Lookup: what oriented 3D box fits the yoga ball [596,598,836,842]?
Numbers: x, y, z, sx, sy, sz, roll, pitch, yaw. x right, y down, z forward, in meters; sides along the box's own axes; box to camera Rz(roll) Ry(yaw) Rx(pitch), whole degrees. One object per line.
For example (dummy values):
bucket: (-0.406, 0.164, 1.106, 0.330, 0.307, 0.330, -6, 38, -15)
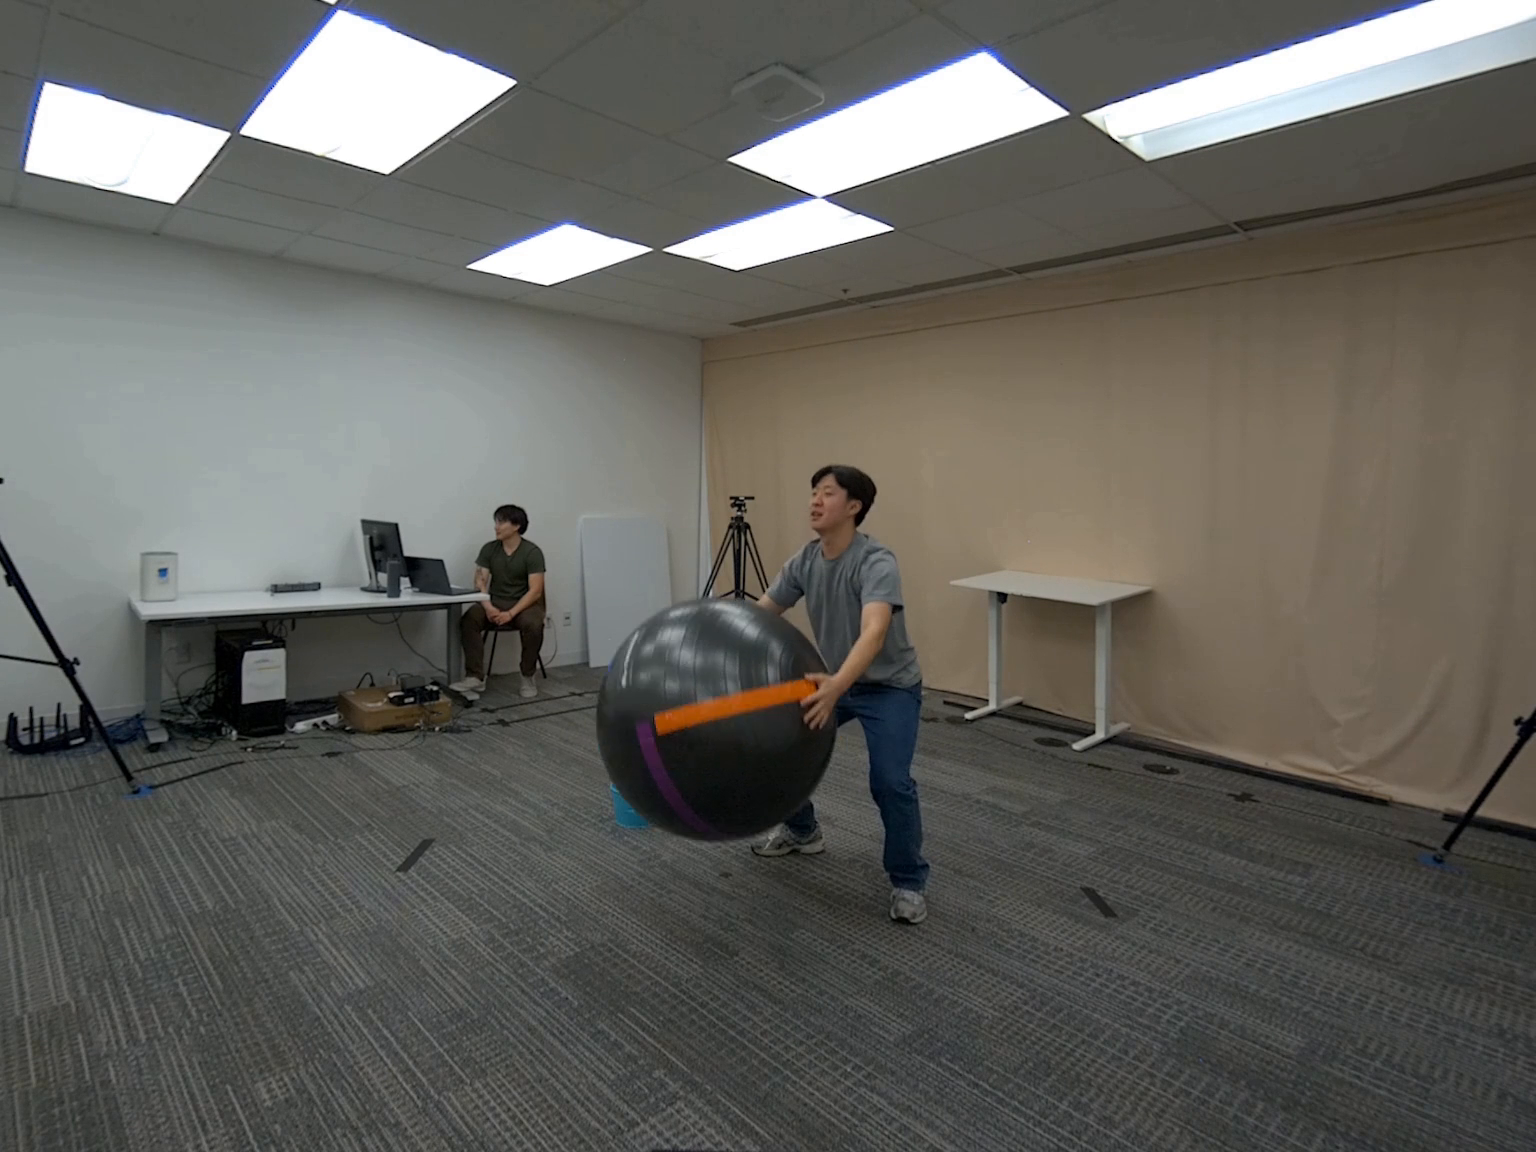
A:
yoga ball: (-0.170, 0.432, 2.675, 0.757, 0.756, 0.761, 1, 4, -1)
